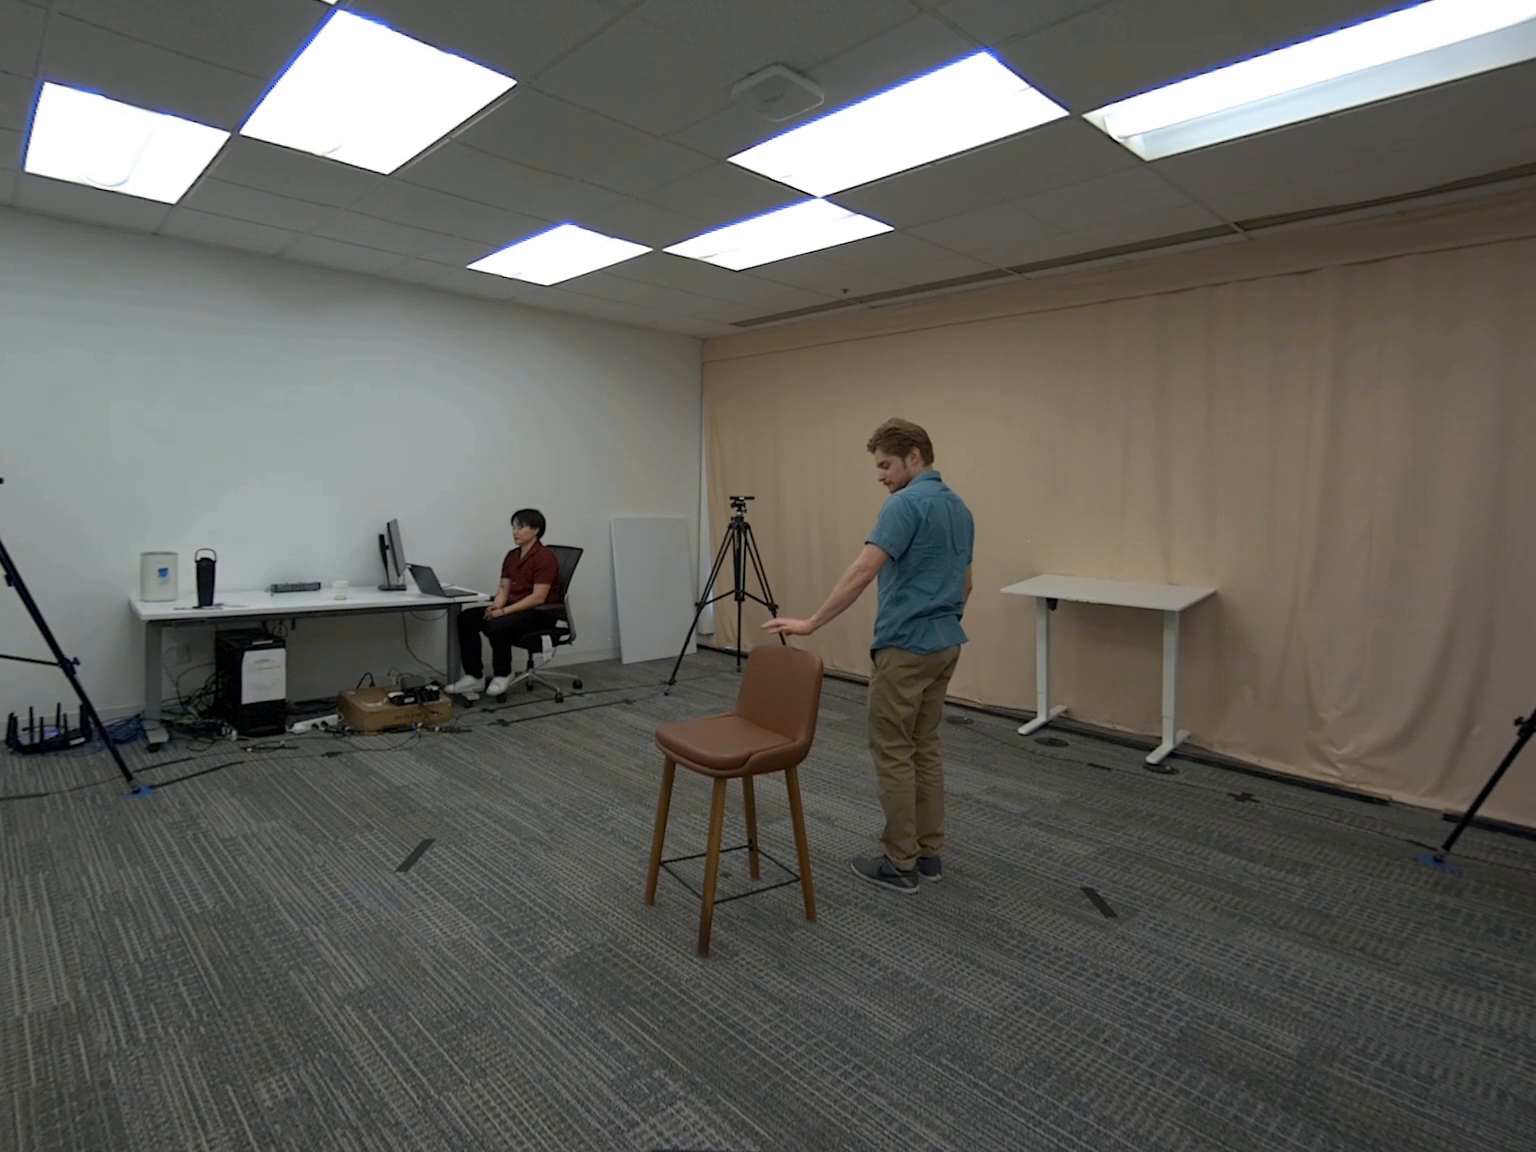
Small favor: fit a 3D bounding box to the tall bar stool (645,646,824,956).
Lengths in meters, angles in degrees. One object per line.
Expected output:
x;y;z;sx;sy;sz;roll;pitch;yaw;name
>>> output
-0.112;0.696;2.804;0.457;0.888;0.467;1;3;-33;tall bar stool
